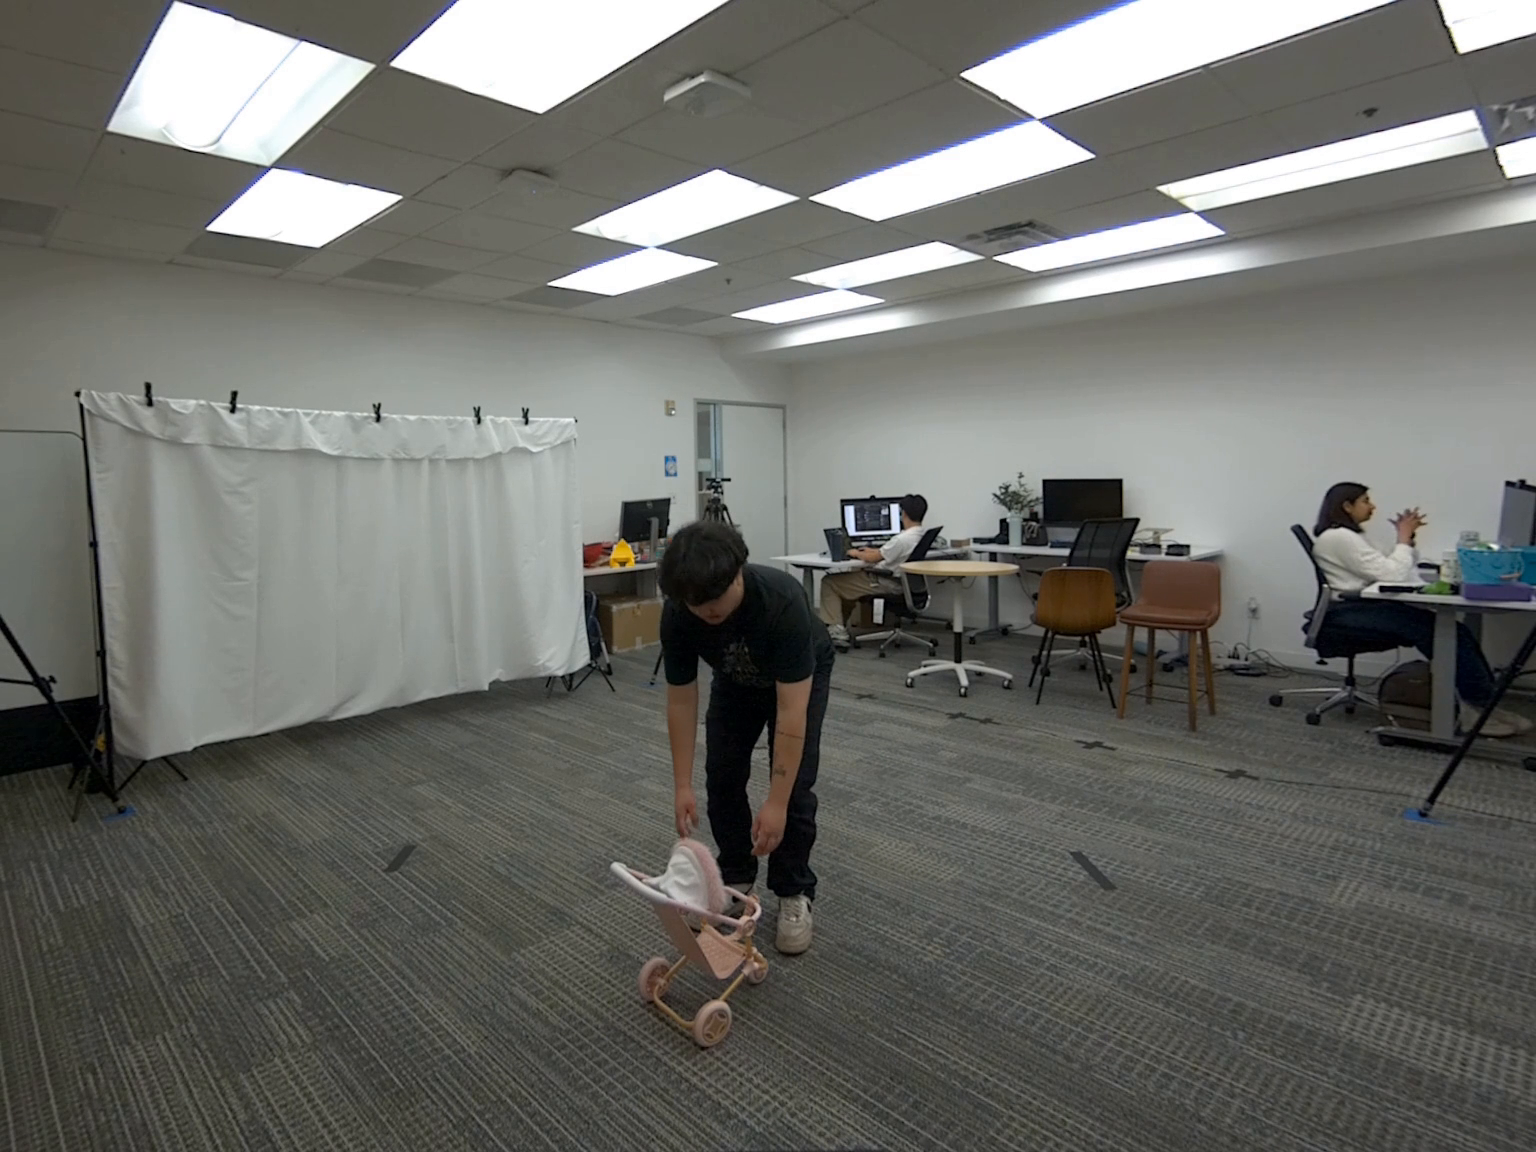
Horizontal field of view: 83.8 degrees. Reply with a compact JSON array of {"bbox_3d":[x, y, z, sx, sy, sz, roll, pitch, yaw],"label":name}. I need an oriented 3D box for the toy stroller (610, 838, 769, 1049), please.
[{"bbox_3d":[-0.167,0.927,2.236,0.336,0.527,0.290,-22,16,-33],"label":"toy stroller"}]
